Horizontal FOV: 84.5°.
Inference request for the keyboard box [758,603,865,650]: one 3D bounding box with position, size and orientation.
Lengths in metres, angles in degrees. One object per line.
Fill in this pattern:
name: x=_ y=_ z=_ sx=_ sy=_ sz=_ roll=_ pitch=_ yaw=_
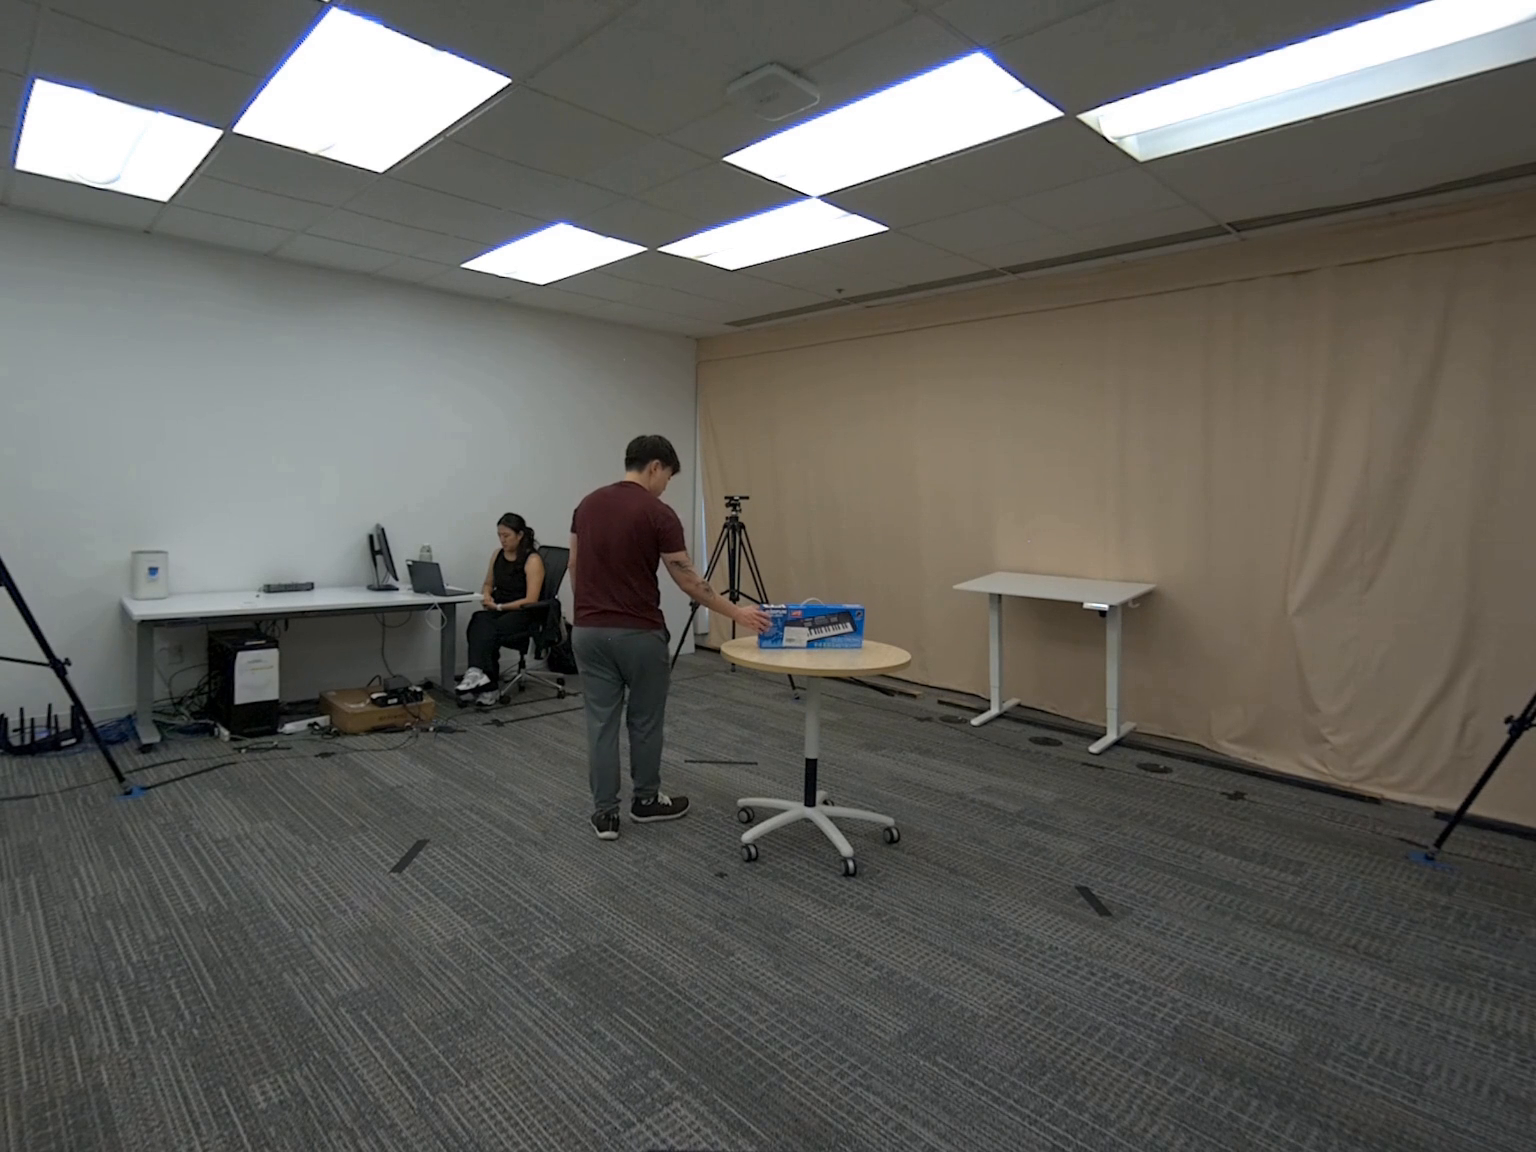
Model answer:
keyboard box: x=0.170 y=0.210 z=3.468 sx=0.433 sy=0.175 sz=0.060 roll=1 pitch=9 yaw=-11
